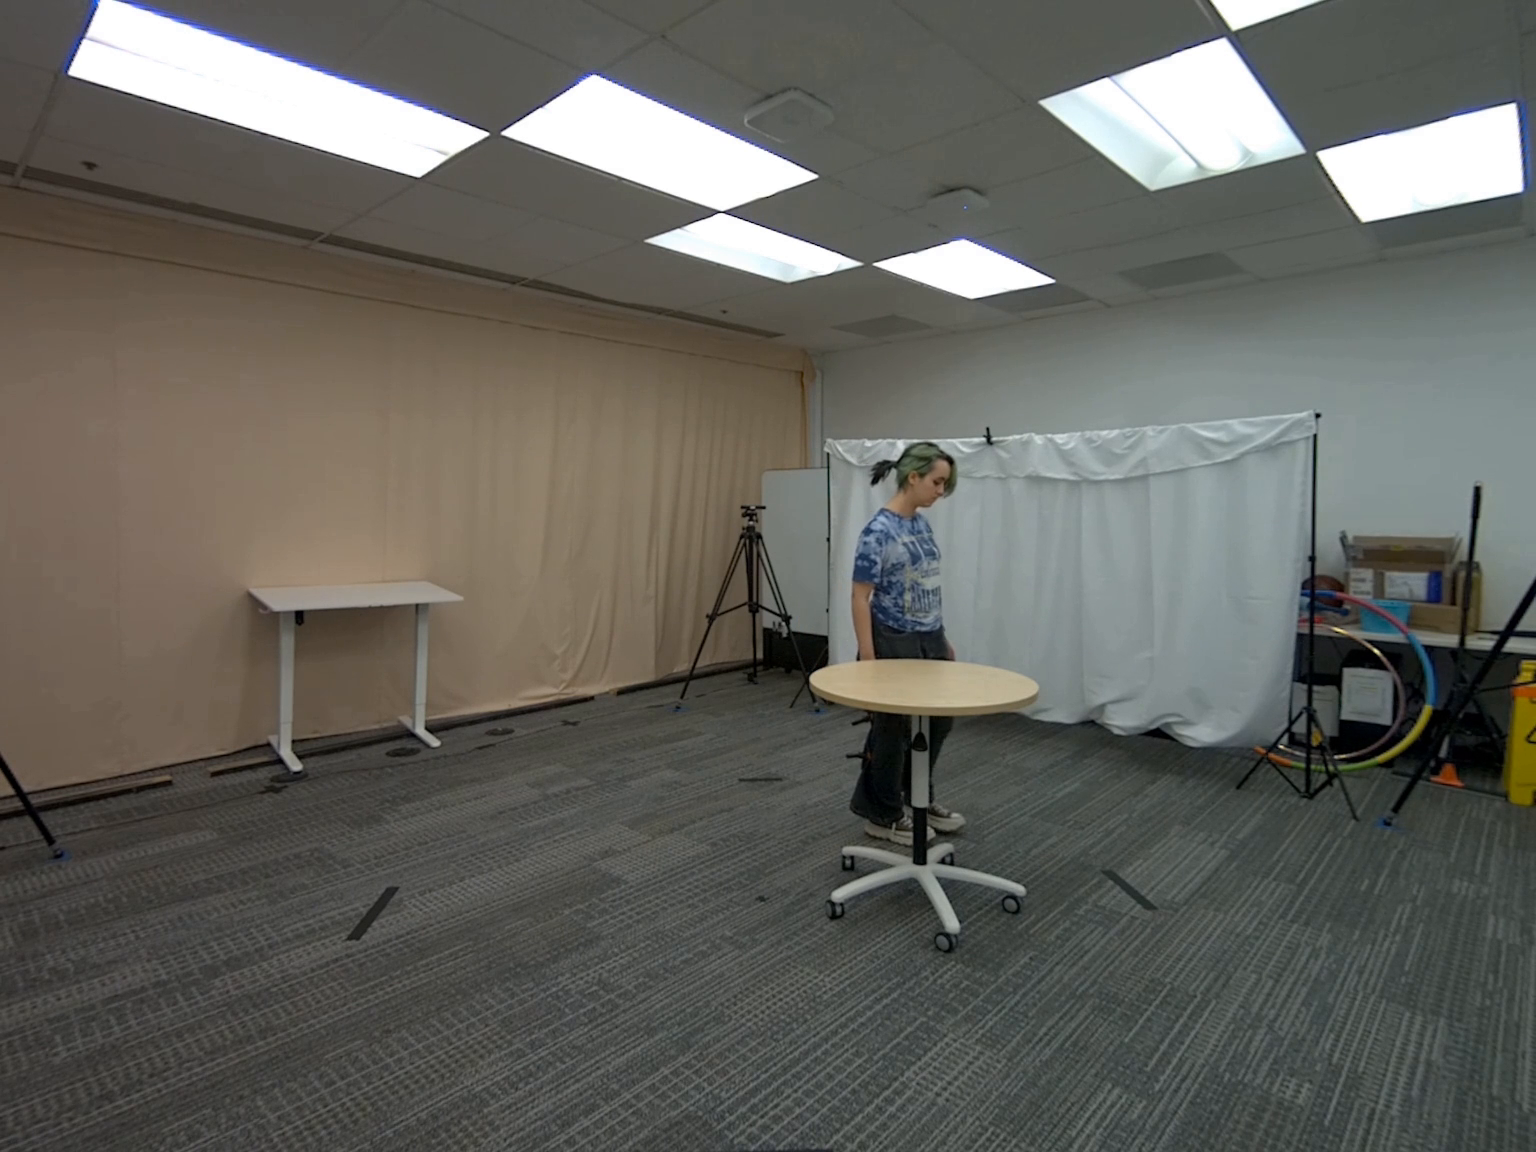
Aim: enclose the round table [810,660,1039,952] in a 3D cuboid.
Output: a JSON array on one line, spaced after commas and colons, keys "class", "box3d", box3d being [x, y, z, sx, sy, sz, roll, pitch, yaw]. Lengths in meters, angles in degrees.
[{"class": "round table", "box3d": [0.520, 0.755, 2.938, 0.763, 0.792, 0.767, 0, 4, -2]}]
